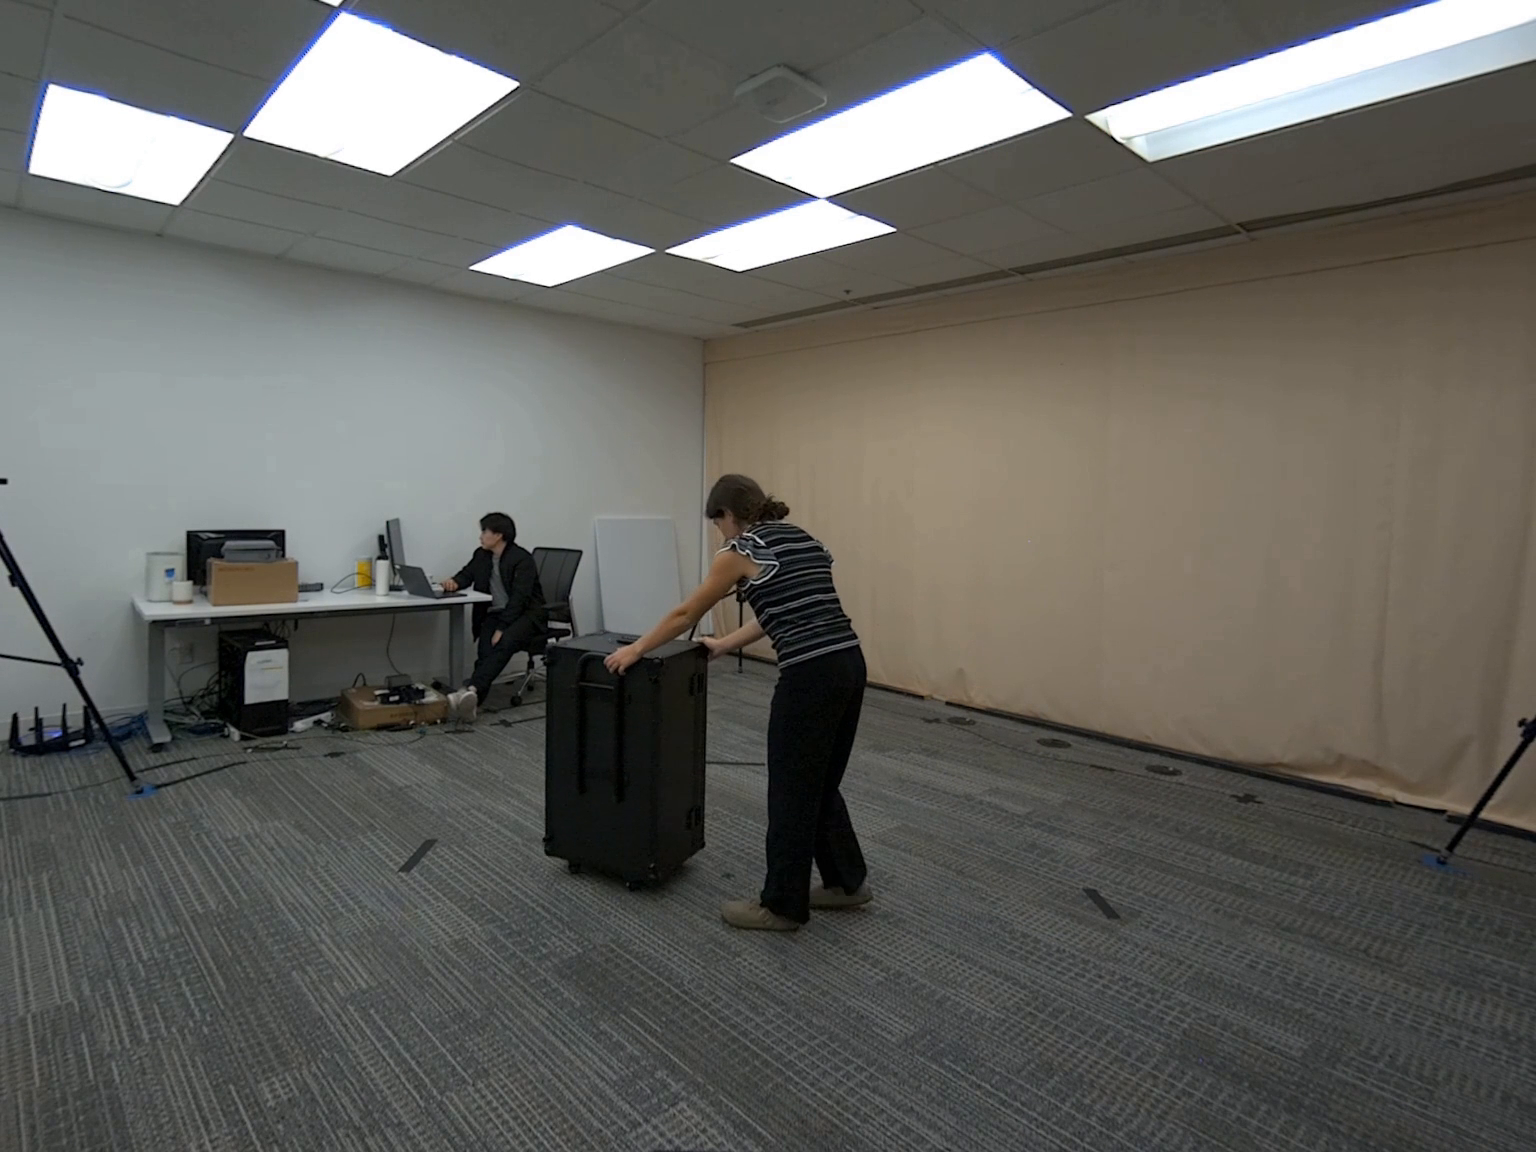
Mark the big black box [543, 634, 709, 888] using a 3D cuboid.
[{"bbox_3d":[-0.527,0.677,3.108,0.532,0.858,0.390,3,5,26],"label":"big black box"}]
